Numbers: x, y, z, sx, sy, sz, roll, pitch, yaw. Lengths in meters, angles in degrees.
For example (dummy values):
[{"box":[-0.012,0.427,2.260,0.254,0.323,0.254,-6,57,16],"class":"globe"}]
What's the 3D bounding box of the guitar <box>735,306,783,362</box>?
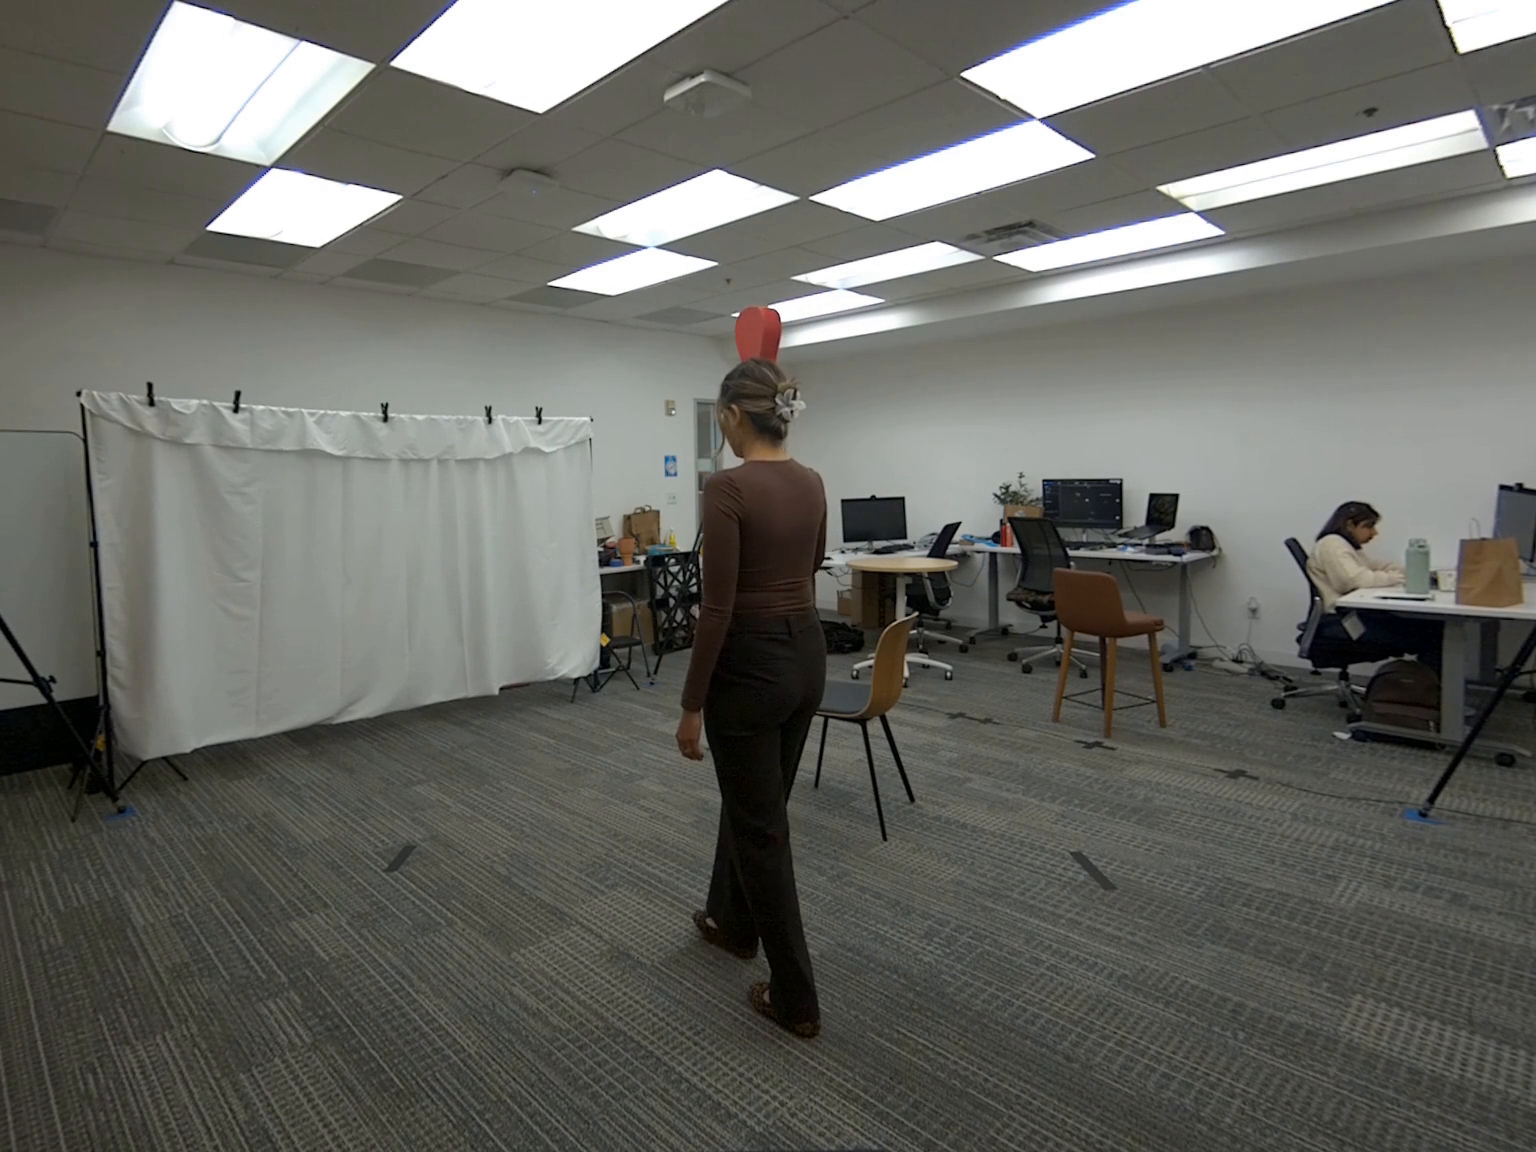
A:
[{"box":[-0.001,-0.531,2.471,0.069,0.499,0.196,-6,-2,-25],"class":"guitar"}]
